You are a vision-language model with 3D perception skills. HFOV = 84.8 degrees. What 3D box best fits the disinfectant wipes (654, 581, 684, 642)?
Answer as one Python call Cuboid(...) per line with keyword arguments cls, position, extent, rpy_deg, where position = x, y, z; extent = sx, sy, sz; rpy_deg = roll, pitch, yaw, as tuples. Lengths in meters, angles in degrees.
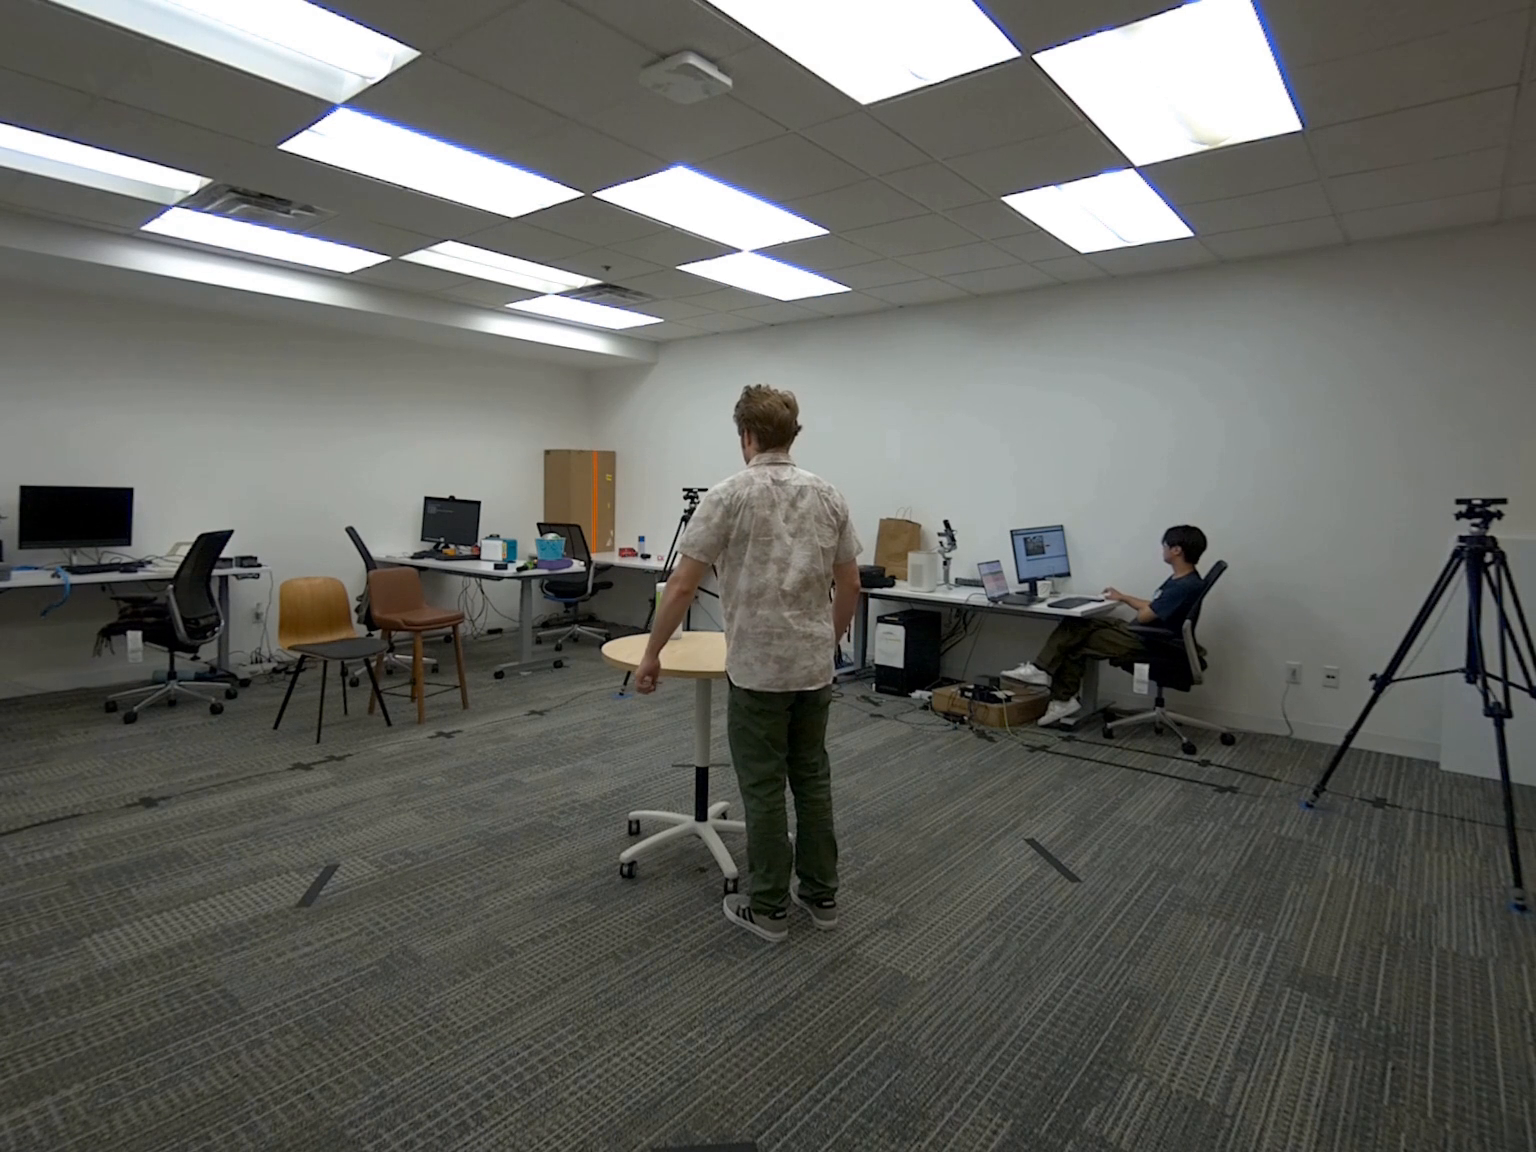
Cuboid(cls="disinfectant wipes", position=(-0.401, 0.137, 3.404), extent=(0.118, 0.217, 0.118), rpy_deg=(-1, 3, -2))
